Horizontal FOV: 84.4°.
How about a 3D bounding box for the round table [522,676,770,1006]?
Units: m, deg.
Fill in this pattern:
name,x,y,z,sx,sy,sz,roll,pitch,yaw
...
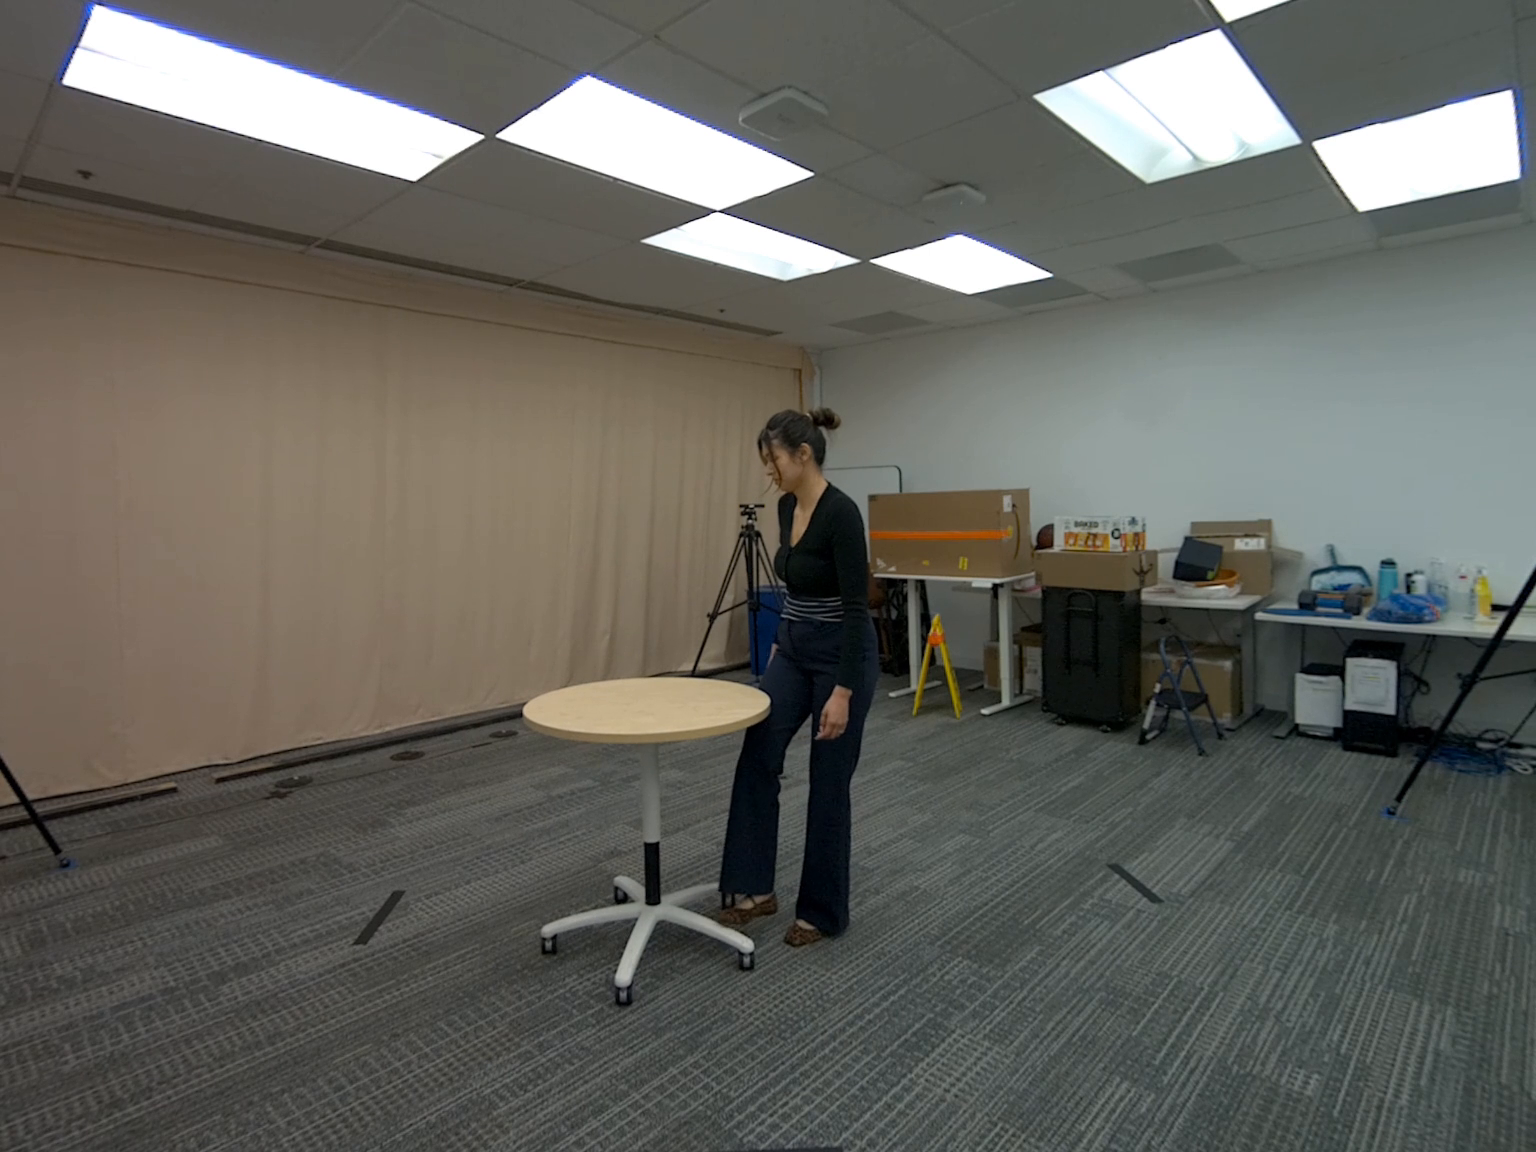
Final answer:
name,x,y,z,sx,sy,sz,roll,pitch,yaw
round table,-0.371,0.790,2.656,0.763,0.792,0.766,-1,4,-2
